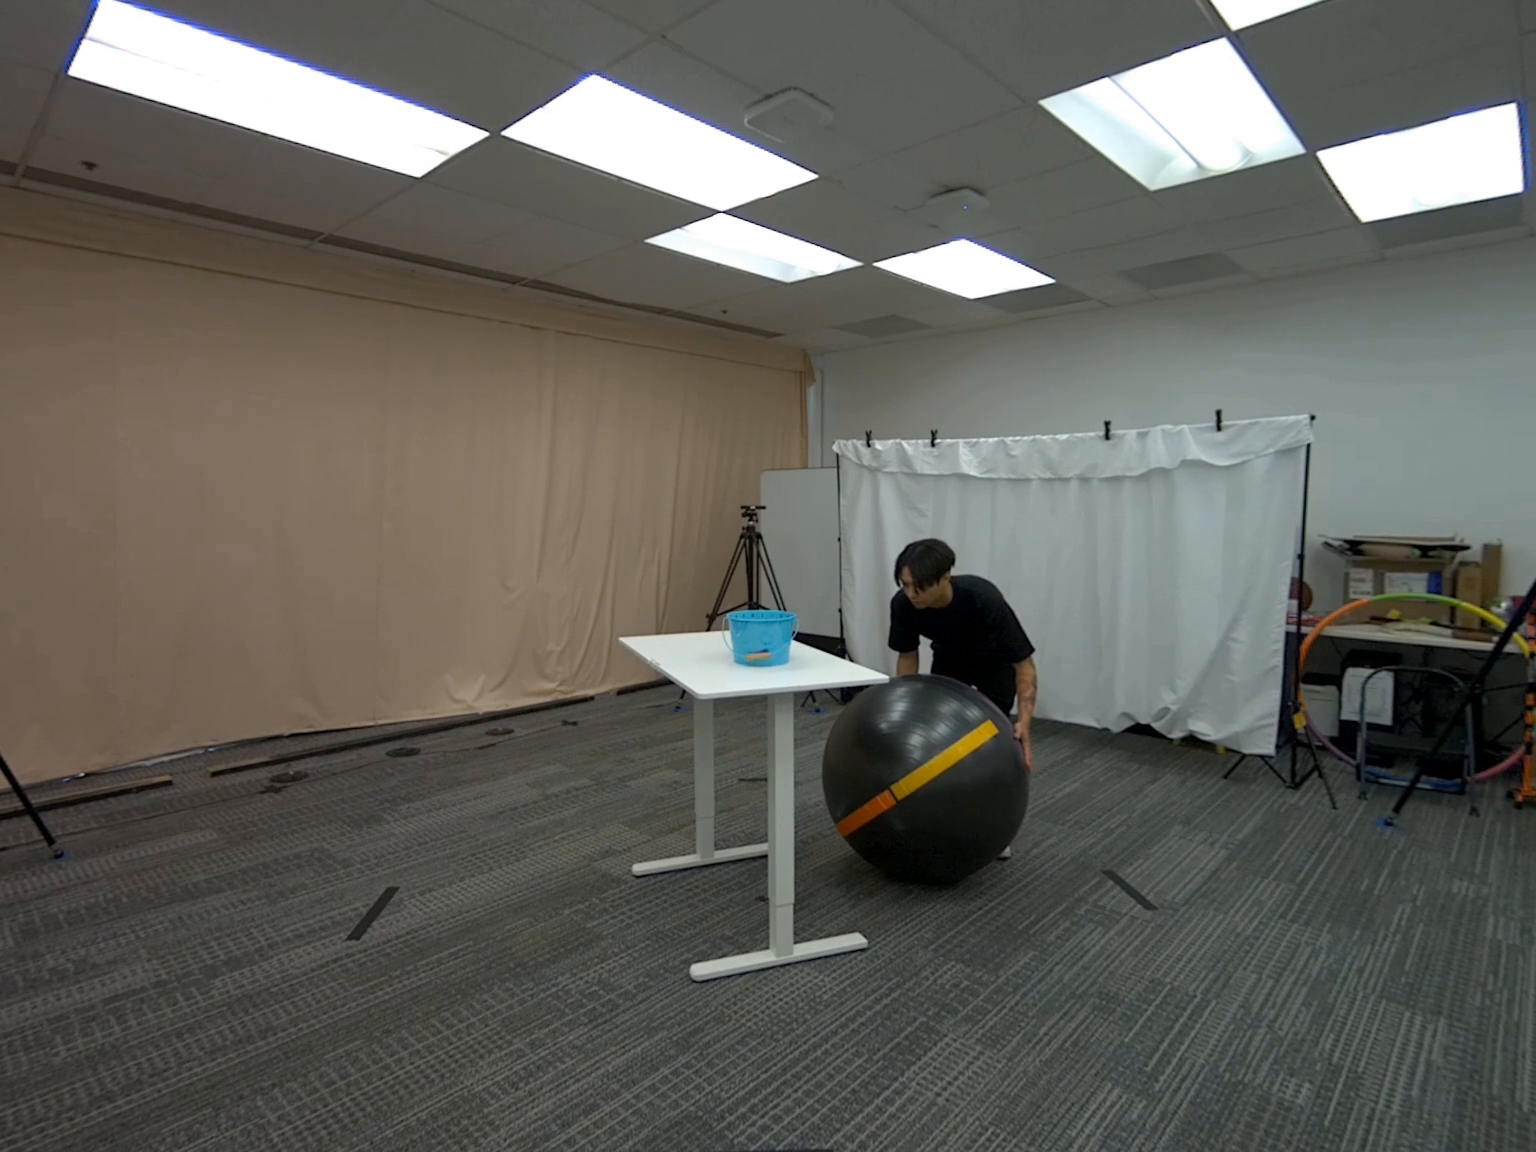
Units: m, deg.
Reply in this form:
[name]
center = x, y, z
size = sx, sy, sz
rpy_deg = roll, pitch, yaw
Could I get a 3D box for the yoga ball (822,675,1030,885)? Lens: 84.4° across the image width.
[yoga ball]
center = 0.585, 0.757, 3.178
size = 0.757, 0.756, 0.760
rpy_deg = 0, 4, -2
